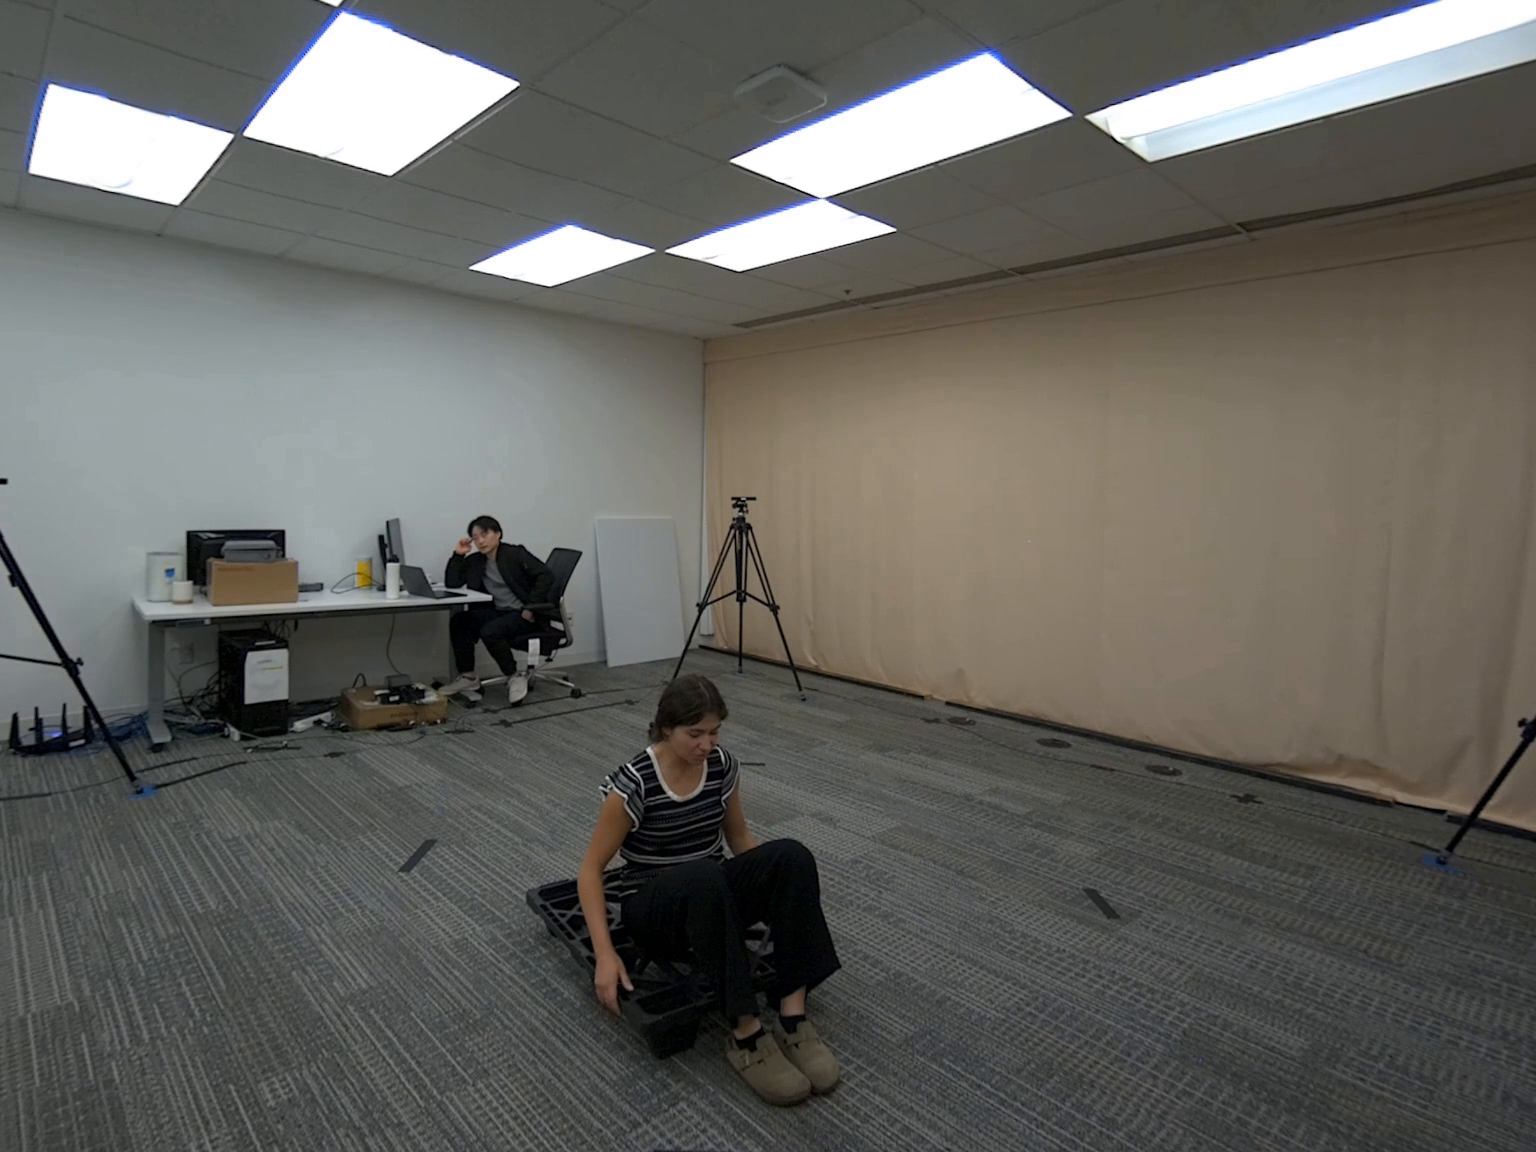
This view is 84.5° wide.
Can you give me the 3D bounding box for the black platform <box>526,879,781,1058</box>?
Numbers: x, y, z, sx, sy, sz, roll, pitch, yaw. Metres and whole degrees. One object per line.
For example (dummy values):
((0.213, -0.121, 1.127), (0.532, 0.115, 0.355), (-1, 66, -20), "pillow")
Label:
((-0.304, 1.090, 2.504), (0.592, 0.143, 0.826), (-4, 8, -35), "black platform")
